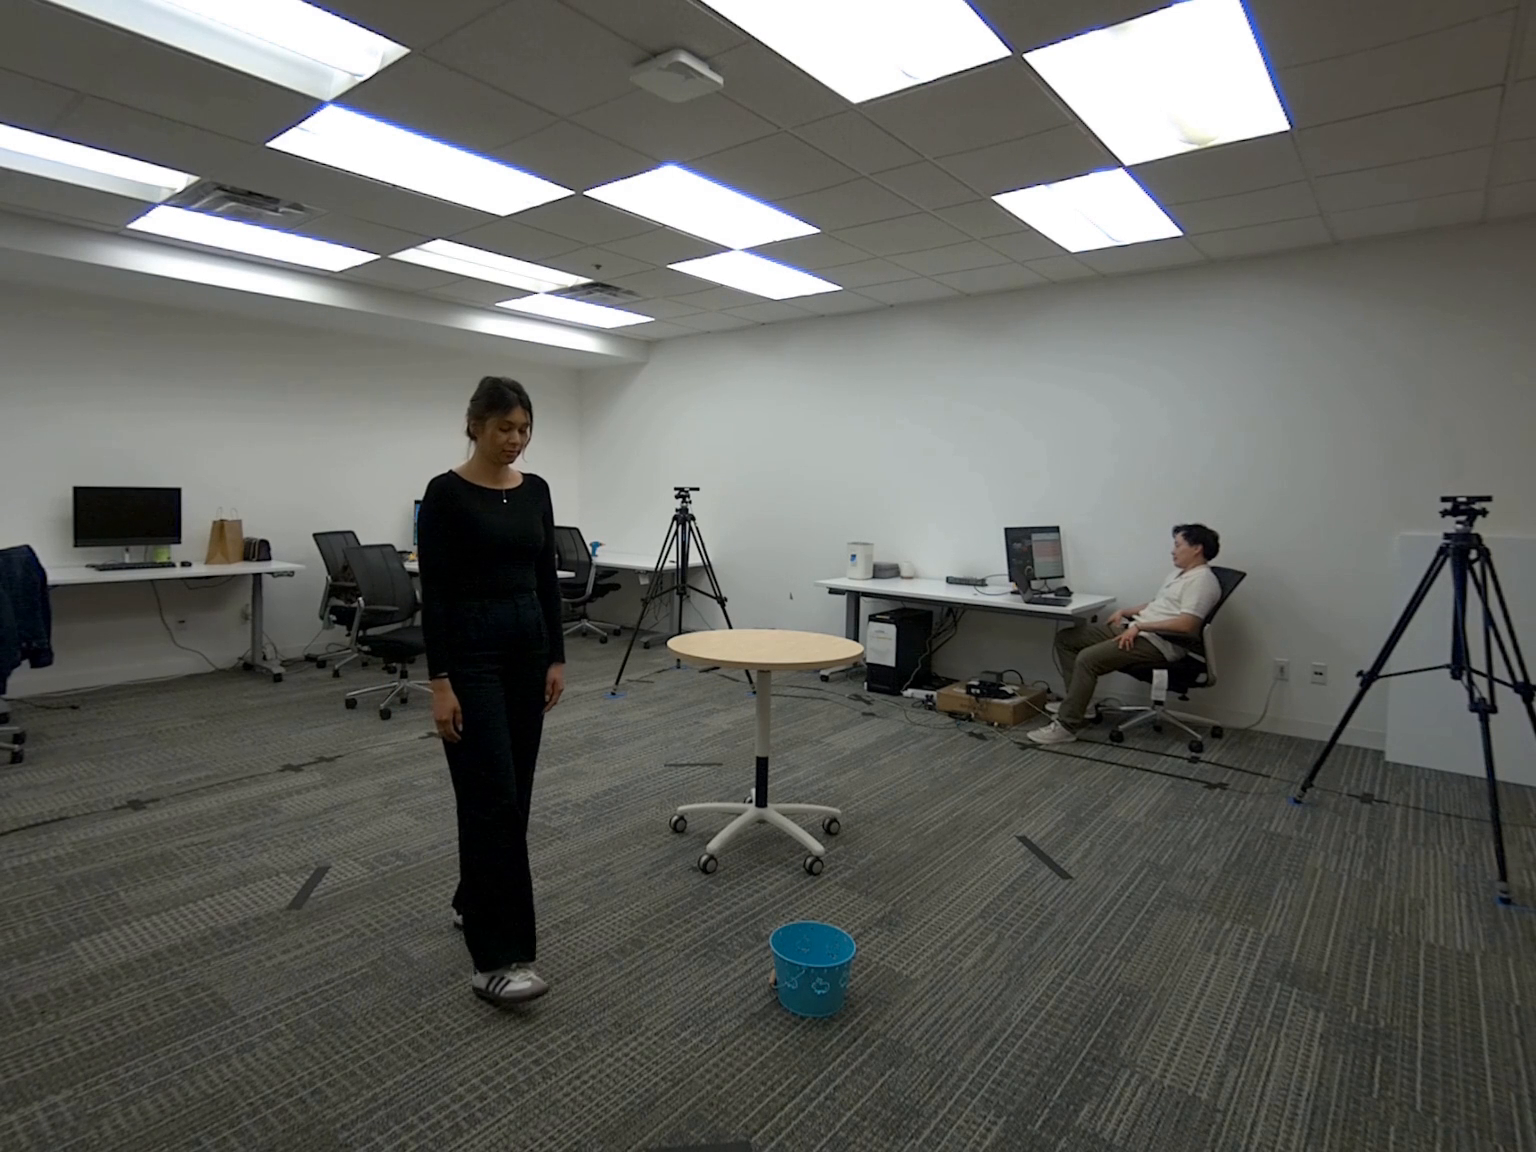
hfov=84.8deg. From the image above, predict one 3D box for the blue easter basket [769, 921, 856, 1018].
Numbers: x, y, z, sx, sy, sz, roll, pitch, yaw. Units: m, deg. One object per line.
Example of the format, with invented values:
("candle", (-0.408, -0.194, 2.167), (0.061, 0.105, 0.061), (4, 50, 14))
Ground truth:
("blue easter basket", (0.111, 1.079, 2.326), (0.243, 0.155, 0.245), (1, 5, -2))
